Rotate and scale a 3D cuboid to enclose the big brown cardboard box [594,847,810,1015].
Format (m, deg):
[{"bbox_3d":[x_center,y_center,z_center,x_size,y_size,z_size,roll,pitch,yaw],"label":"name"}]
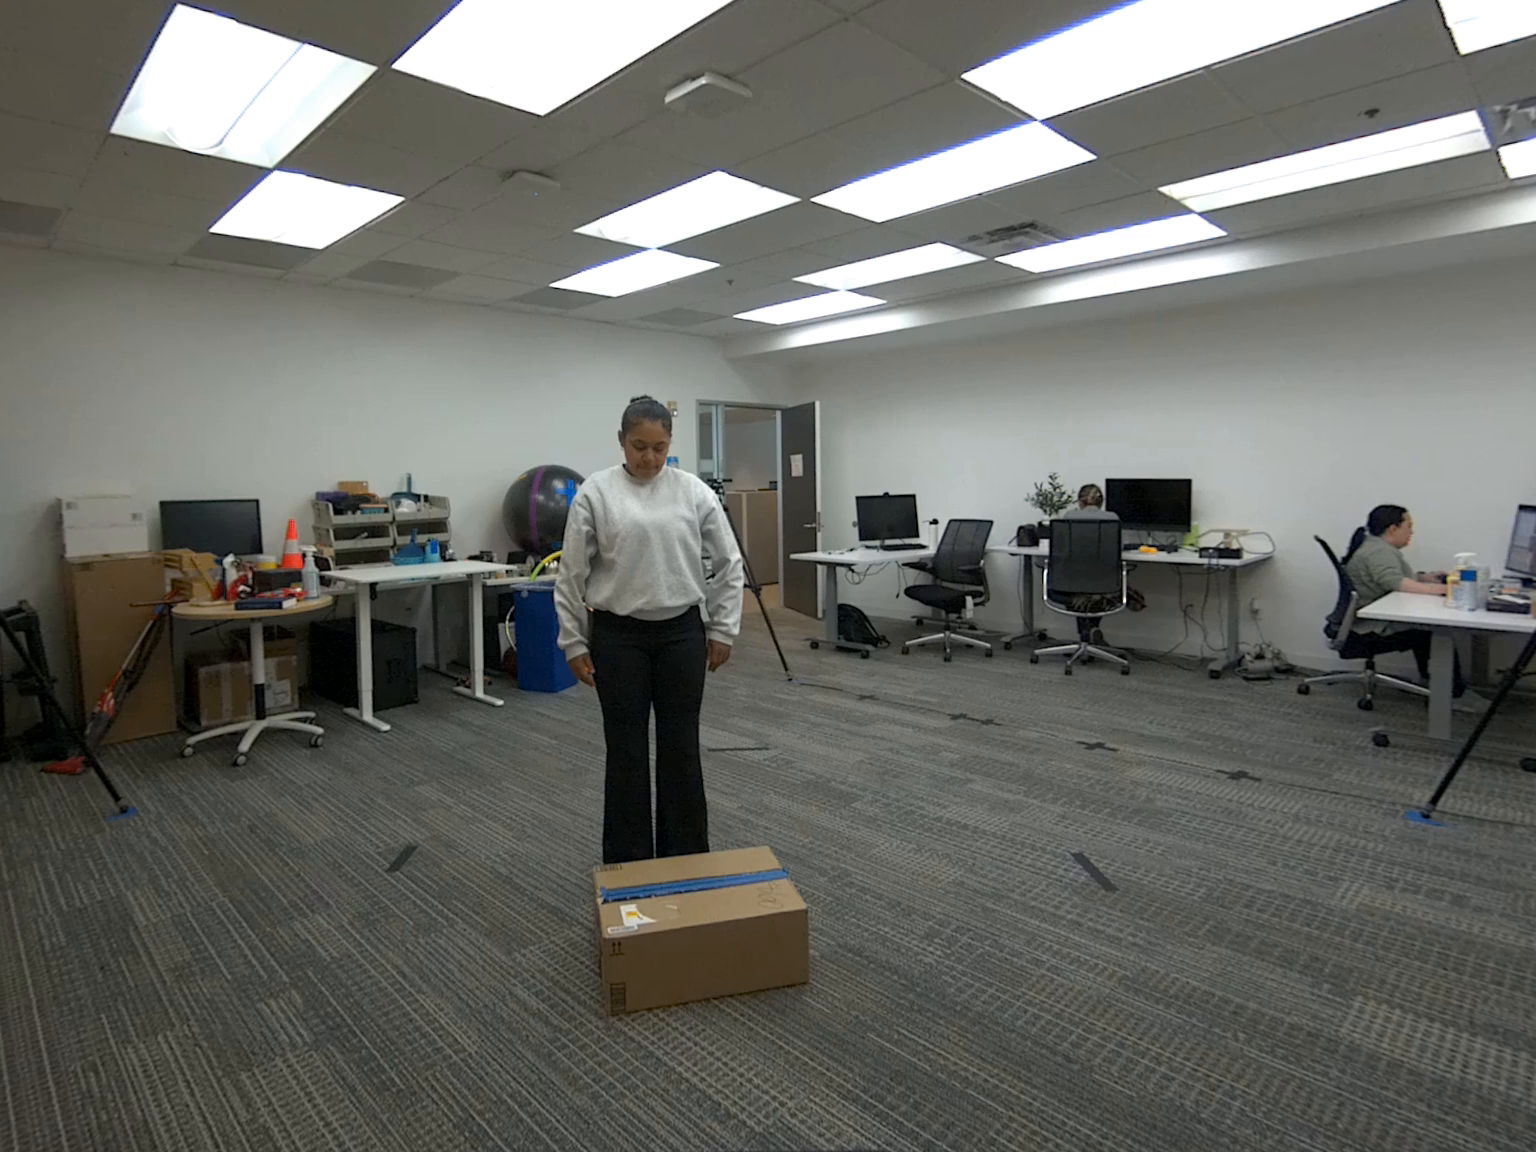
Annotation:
[{"bbox_3d":[-0.211,1.007,2.494,0.581,0.232,0.425,-2,6,-14],"label":"big brown cardboard box"}]
